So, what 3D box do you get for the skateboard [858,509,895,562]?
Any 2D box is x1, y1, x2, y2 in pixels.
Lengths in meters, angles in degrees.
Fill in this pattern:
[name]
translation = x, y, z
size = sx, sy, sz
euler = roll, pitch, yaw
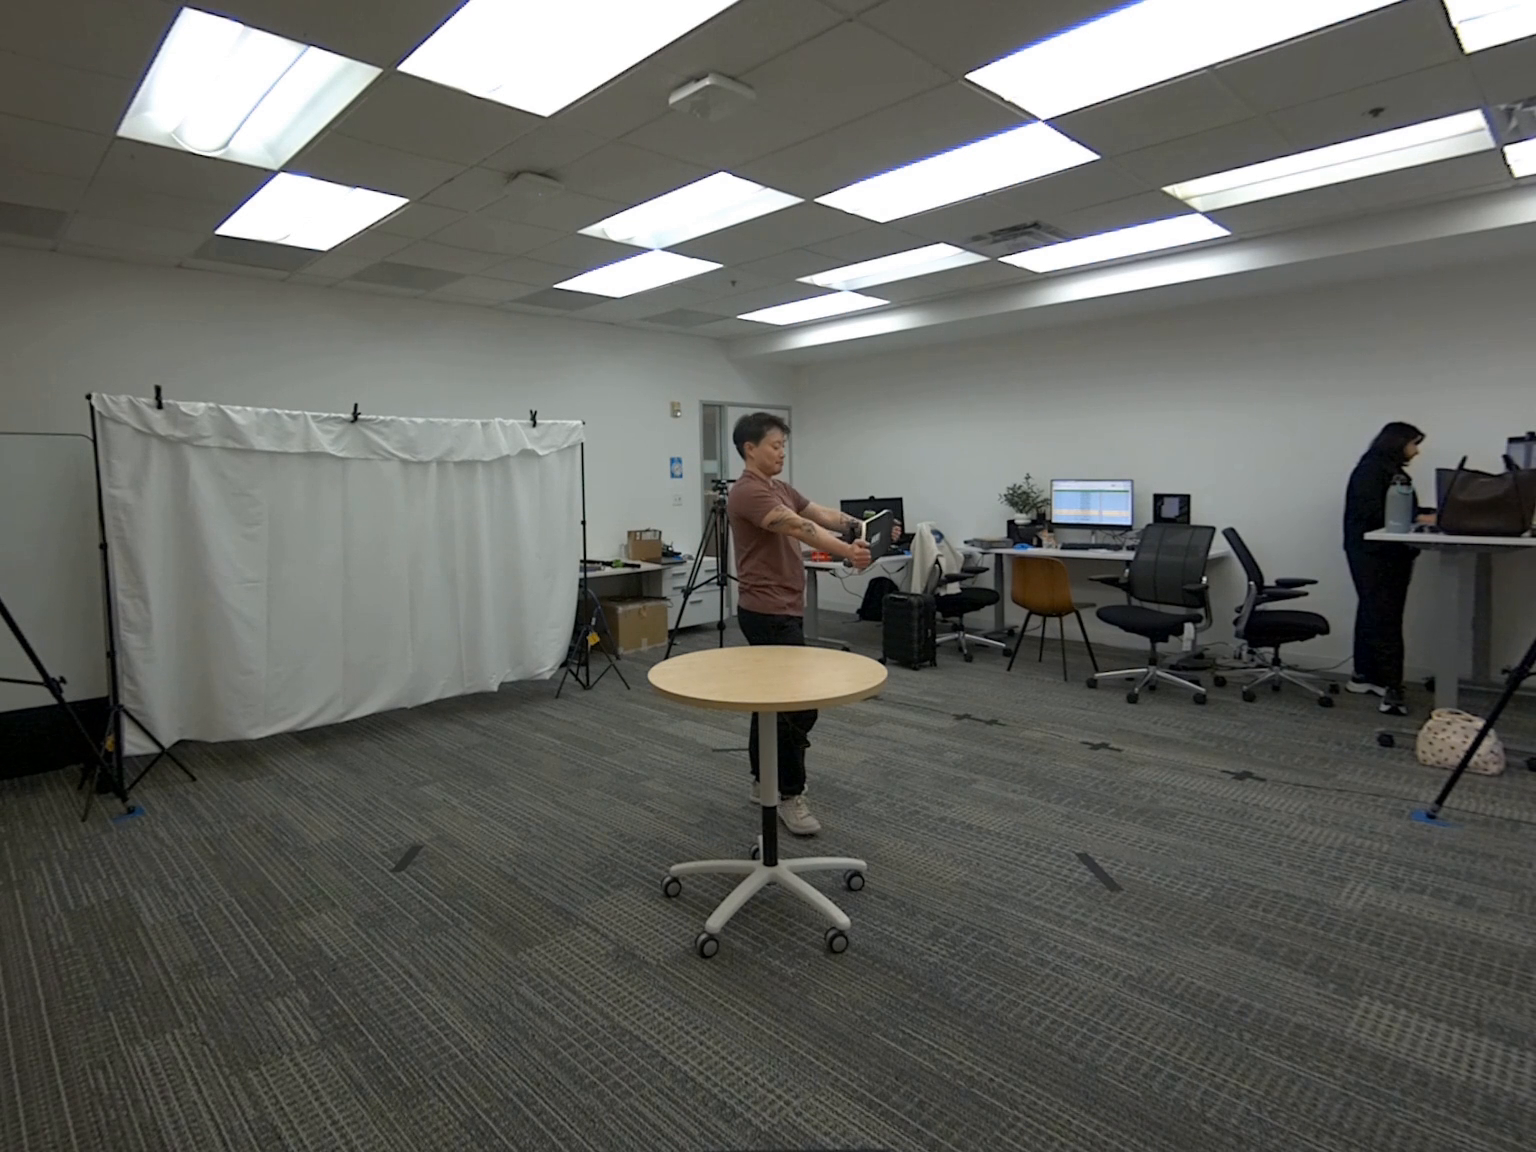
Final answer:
[skateboard]
translation = 0.393, -0.155, 3.493
size = 0.112, 0.191, 0.778
euler = 17, 15, 13
